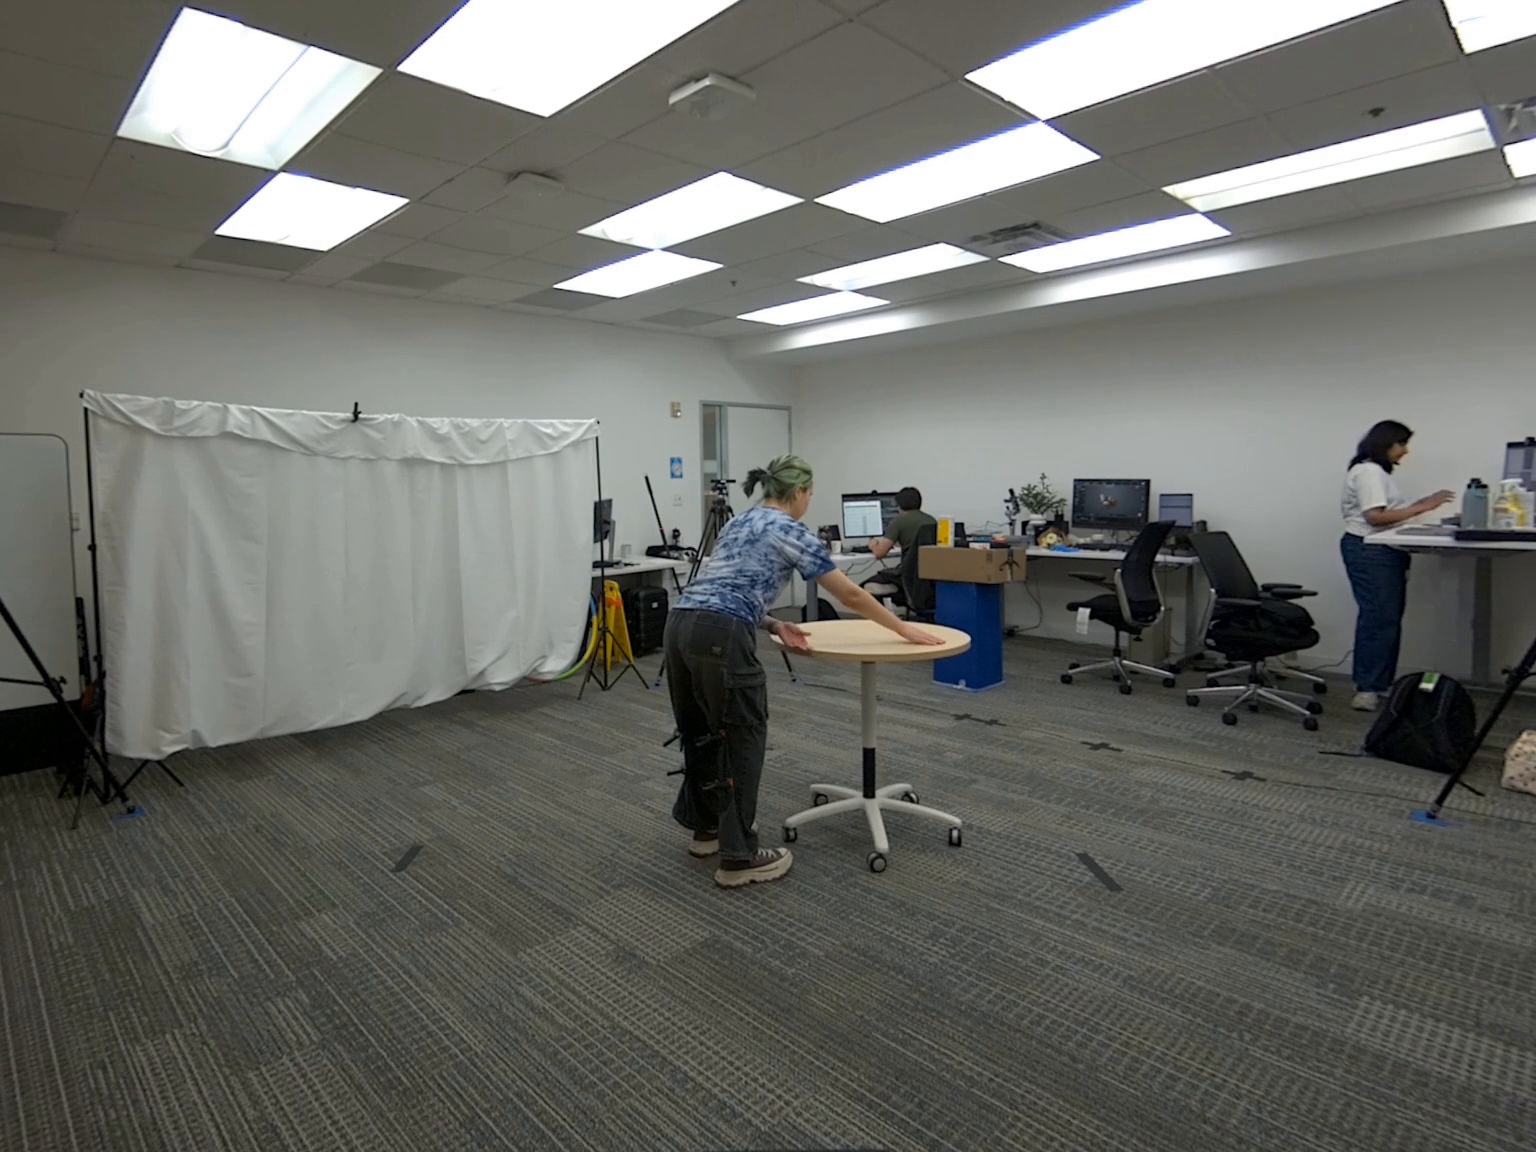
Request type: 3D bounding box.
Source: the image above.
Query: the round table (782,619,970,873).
[{"bbox_3d":[0.400,0.623,3.359,0.763,0.791,0.768,-1,4,-2],"label":"round table"}]
